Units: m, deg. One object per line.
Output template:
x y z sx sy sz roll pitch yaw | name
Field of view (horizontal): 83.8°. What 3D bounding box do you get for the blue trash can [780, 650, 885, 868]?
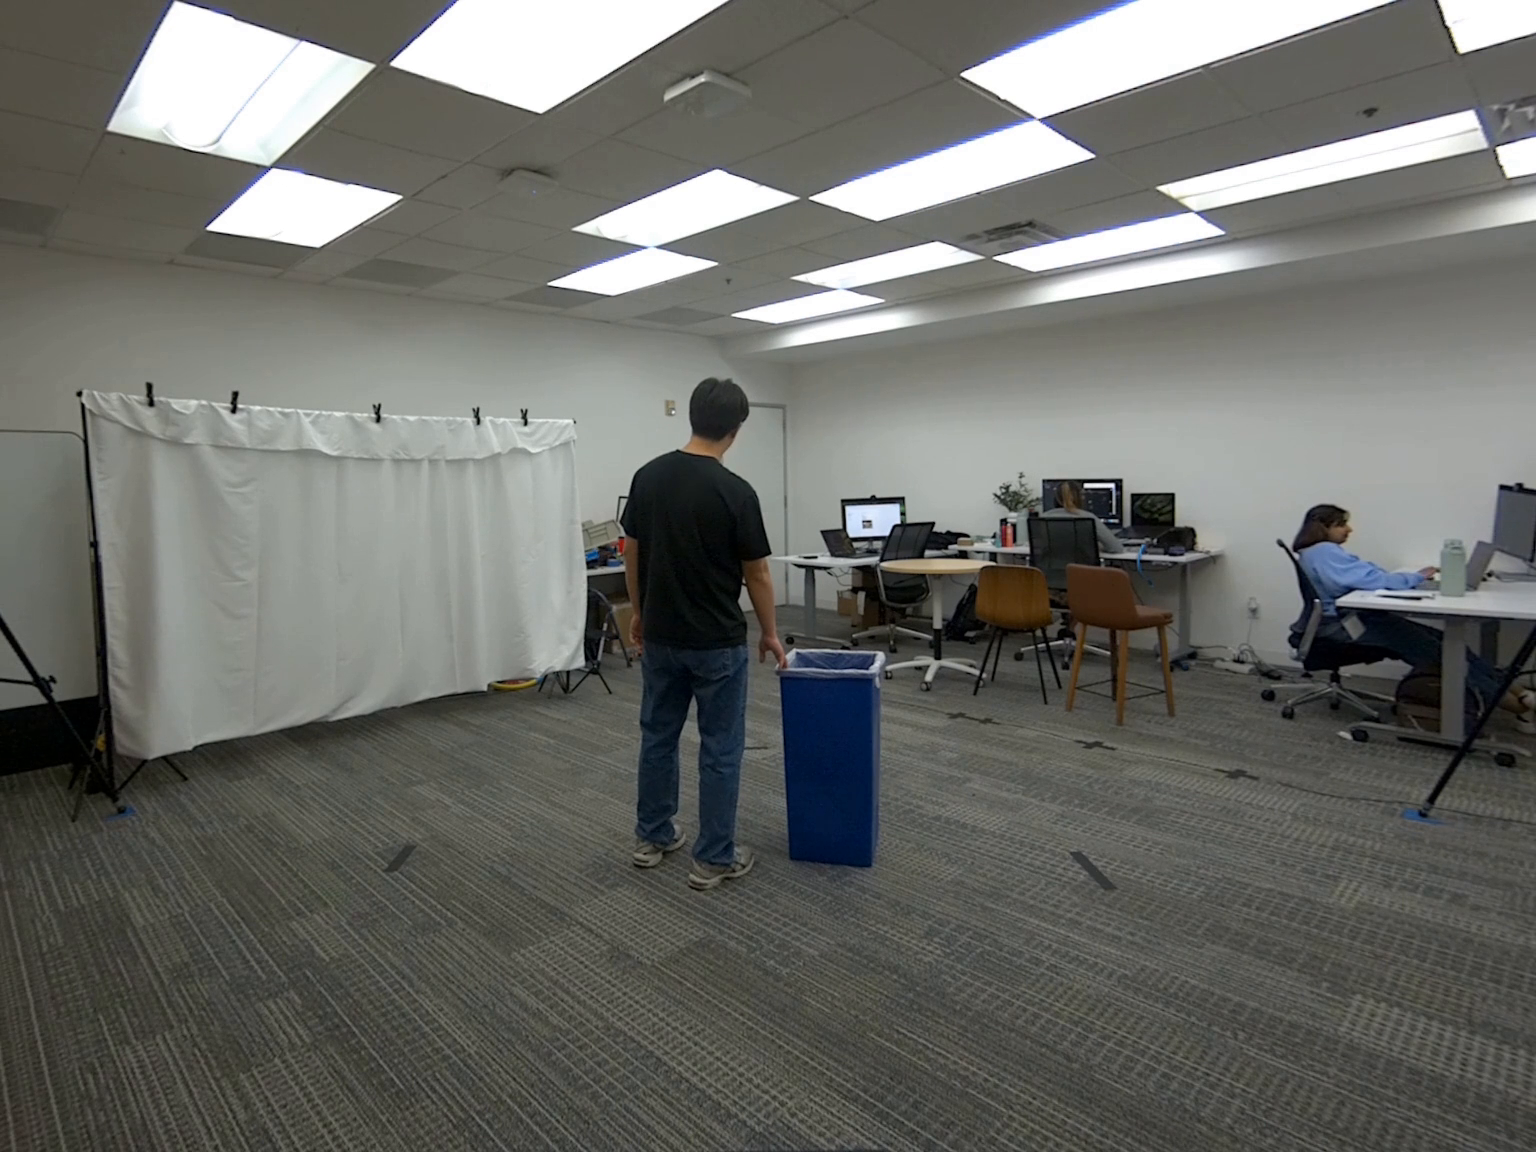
0.256 0.666 3.213 0.379 0.711 0.374 -1 4 14 | blue trash can
